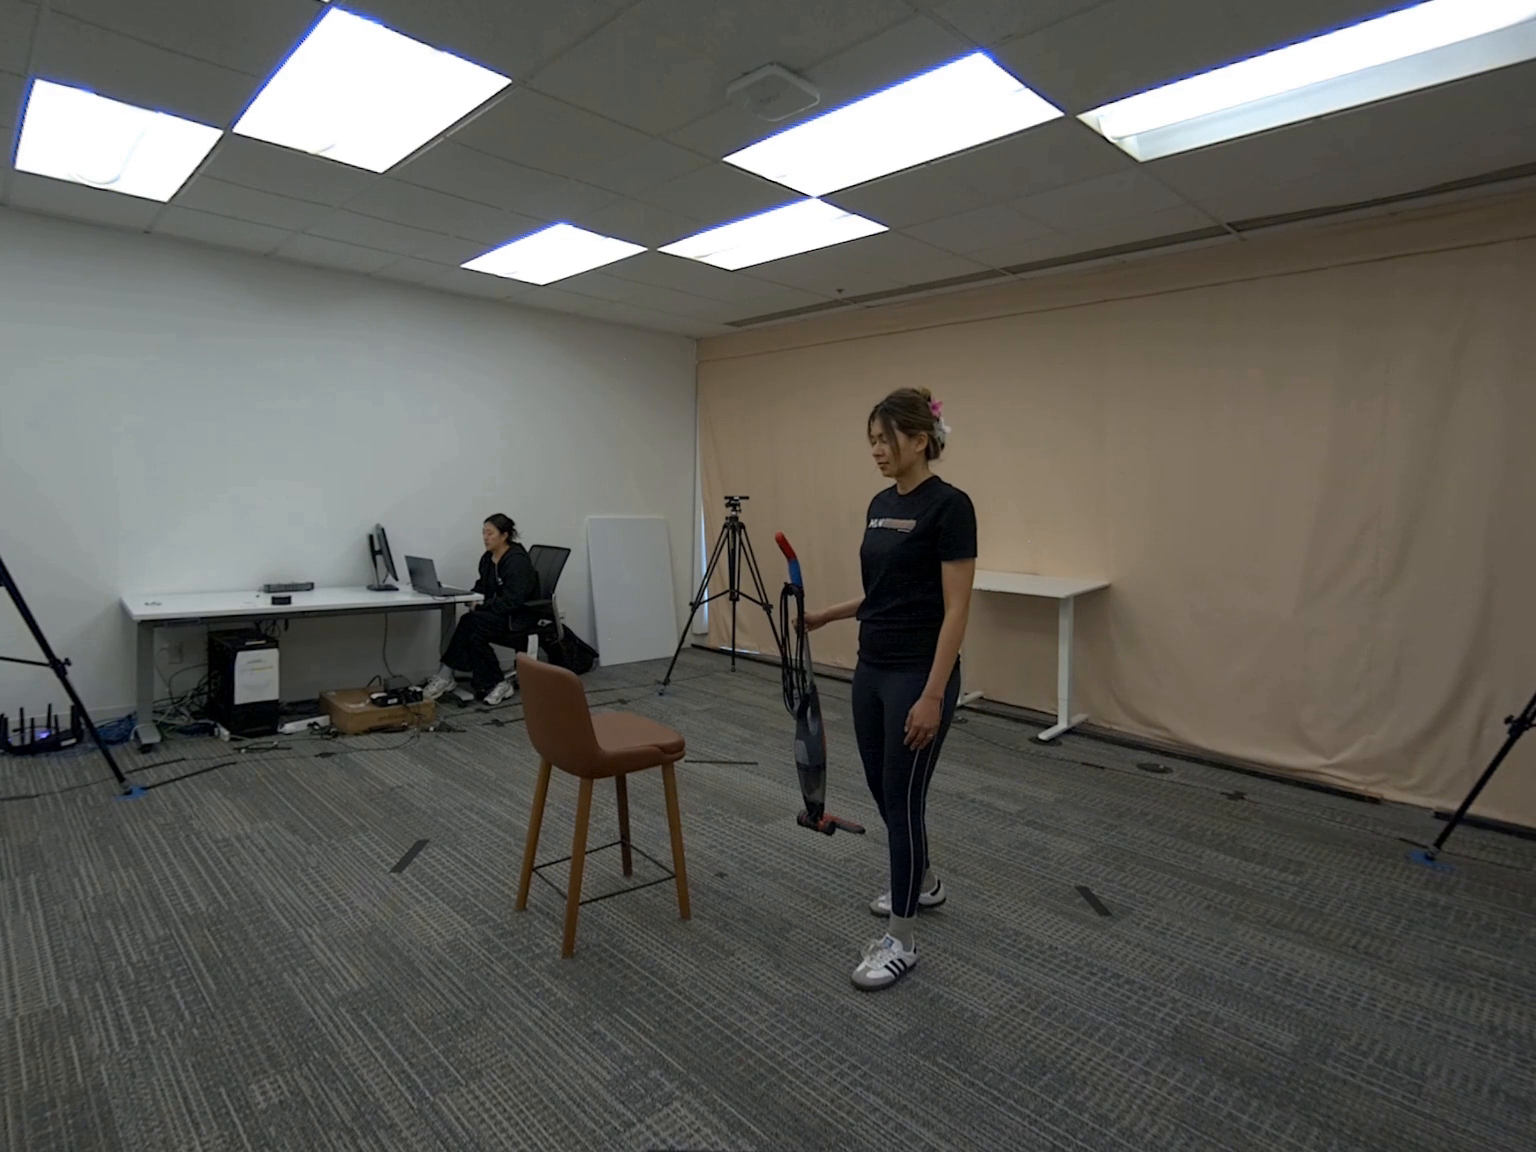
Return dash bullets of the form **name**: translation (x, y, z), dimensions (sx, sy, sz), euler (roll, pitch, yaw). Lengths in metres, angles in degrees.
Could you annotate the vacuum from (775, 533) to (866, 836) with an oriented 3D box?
- **vacuum**: translation (0.109, 0.372, 2.777), dimensions (0.142, 1.037, 0.259), euler (-21, 17, -37)
